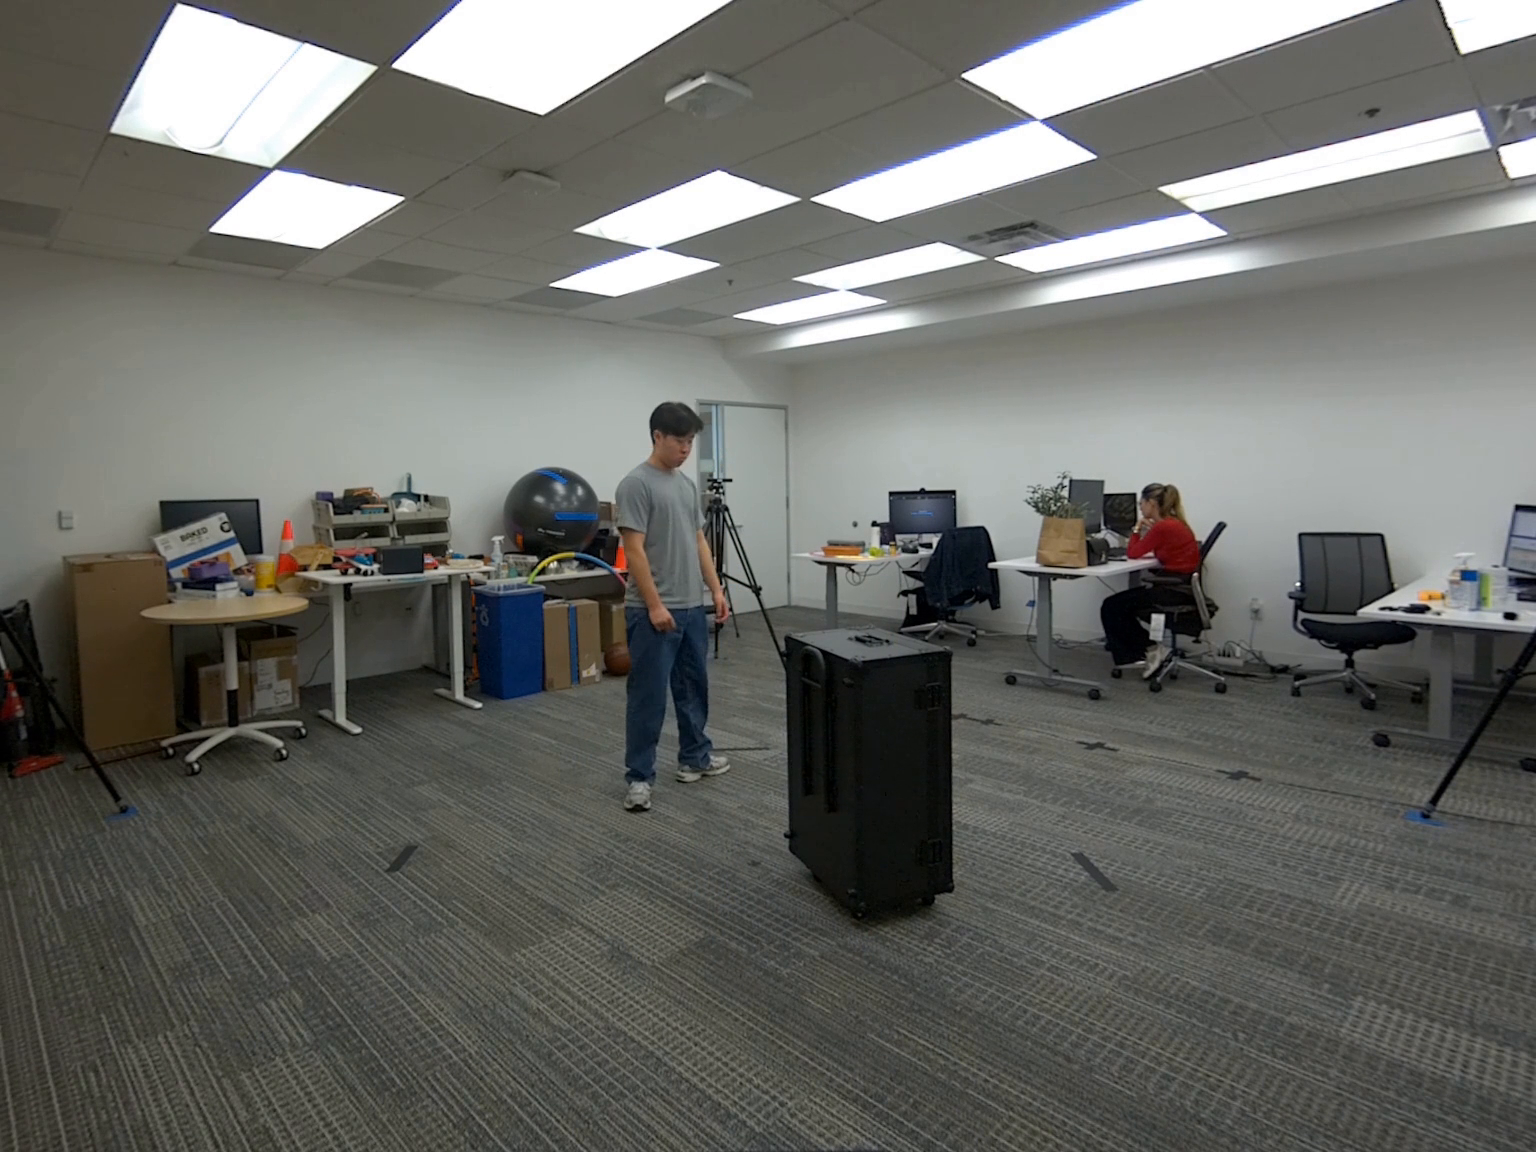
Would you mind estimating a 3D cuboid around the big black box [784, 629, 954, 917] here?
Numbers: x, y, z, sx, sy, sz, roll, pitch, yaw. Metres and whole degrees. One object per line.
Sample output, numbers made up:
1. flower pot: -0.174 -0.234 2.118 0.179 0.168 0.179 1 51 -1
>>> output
1. big black box: 0.322 0.641 2.853 0.389 0.858 0.533 -4 5 -23
